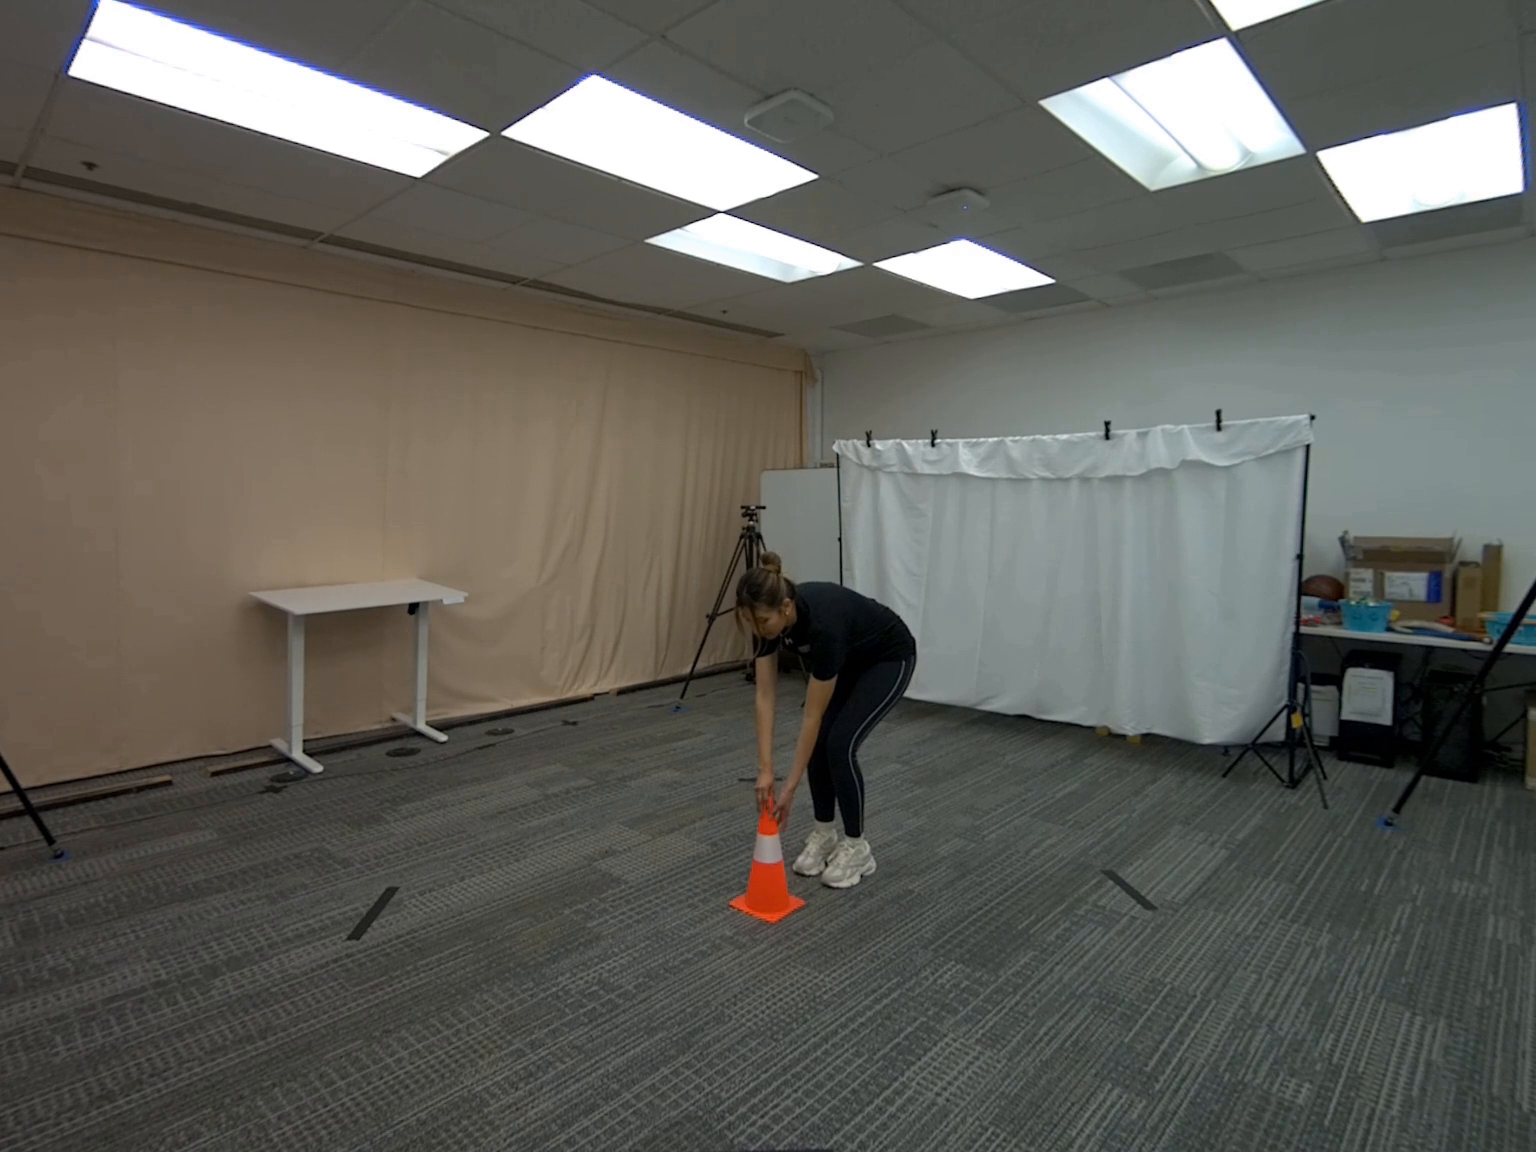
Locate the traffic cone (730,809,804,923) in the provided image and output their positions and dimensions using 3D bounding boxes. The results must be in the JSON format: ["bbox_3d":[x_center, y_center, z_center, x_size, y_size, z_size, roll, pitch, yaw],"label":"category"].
[{"bbox_3d":[0.002,0.956,2.931,0.210,0.382,0.199,2,5,36],"label":"traffic cone"}]
